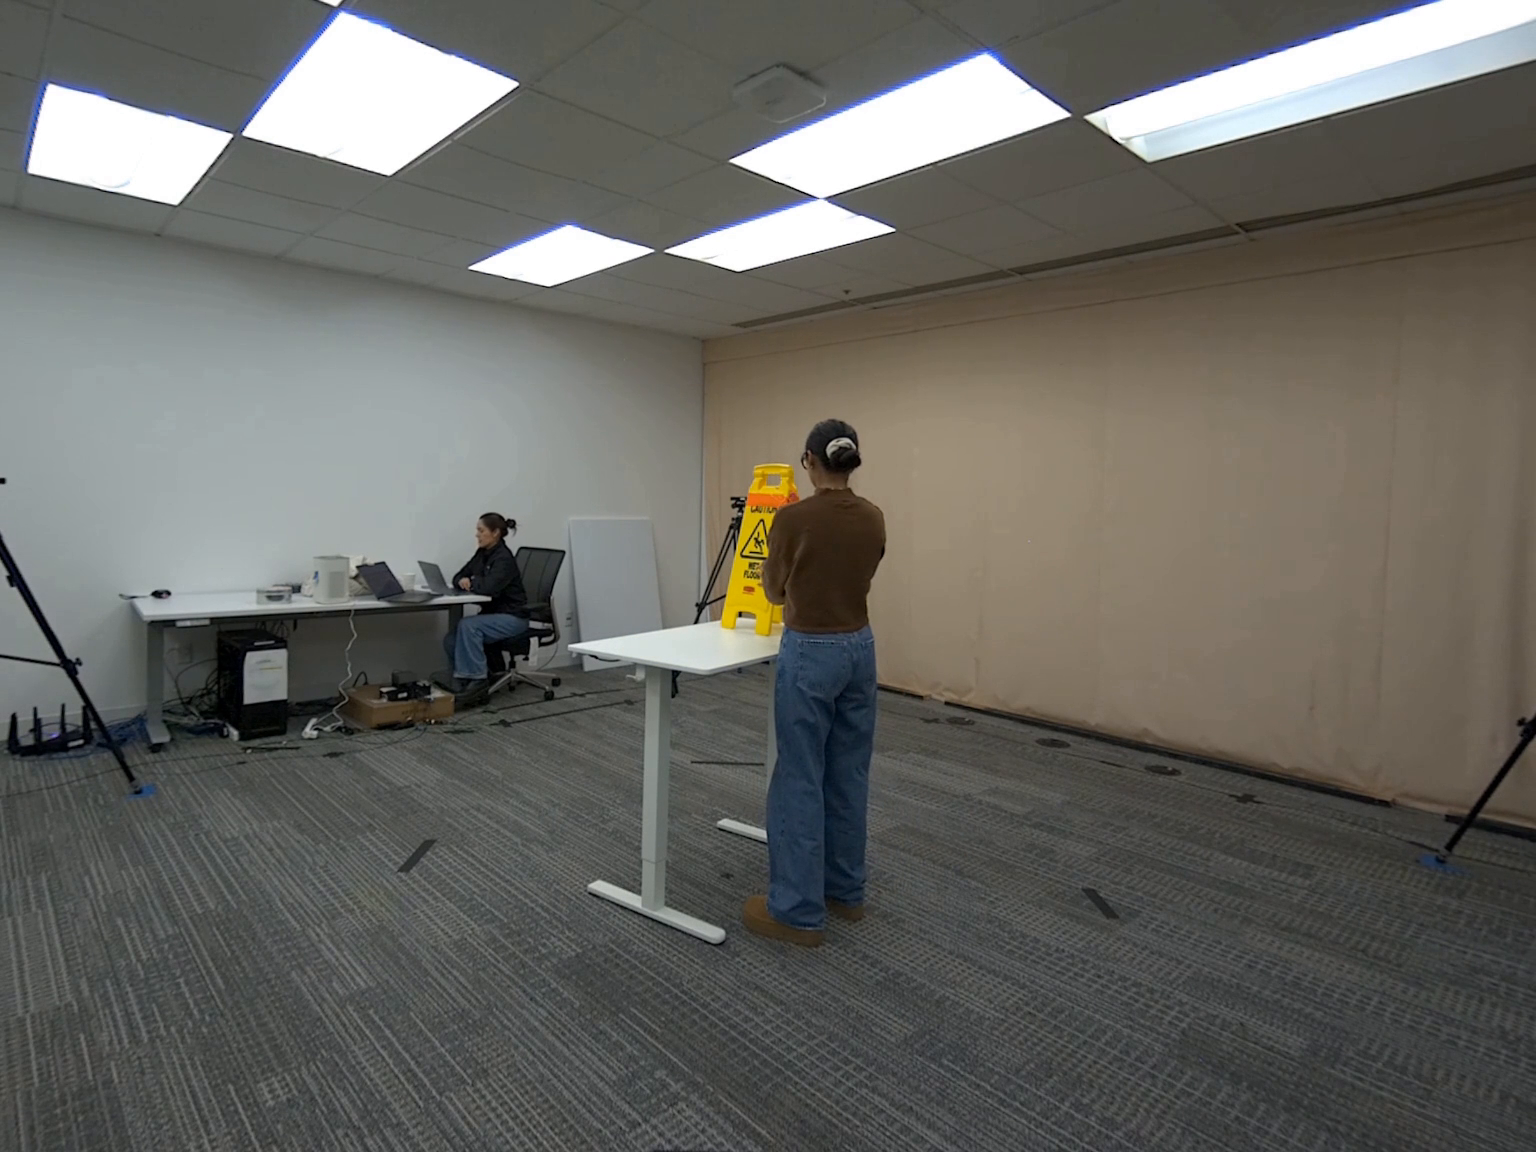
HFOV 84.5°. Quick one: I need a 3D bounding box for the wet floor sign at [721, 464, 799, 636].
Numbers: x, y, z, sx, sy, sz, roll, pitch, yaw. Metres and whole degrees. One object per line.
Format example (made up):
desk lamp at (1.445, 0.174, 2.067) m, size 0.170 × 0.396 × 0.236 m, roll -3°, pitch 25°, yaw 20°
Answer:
wet floor sign at (0.004, -0.112, 3.317) m, size 0.283 × 0.644 × 0.289 m, roll -2°, pitch 5°, yaw -42°
